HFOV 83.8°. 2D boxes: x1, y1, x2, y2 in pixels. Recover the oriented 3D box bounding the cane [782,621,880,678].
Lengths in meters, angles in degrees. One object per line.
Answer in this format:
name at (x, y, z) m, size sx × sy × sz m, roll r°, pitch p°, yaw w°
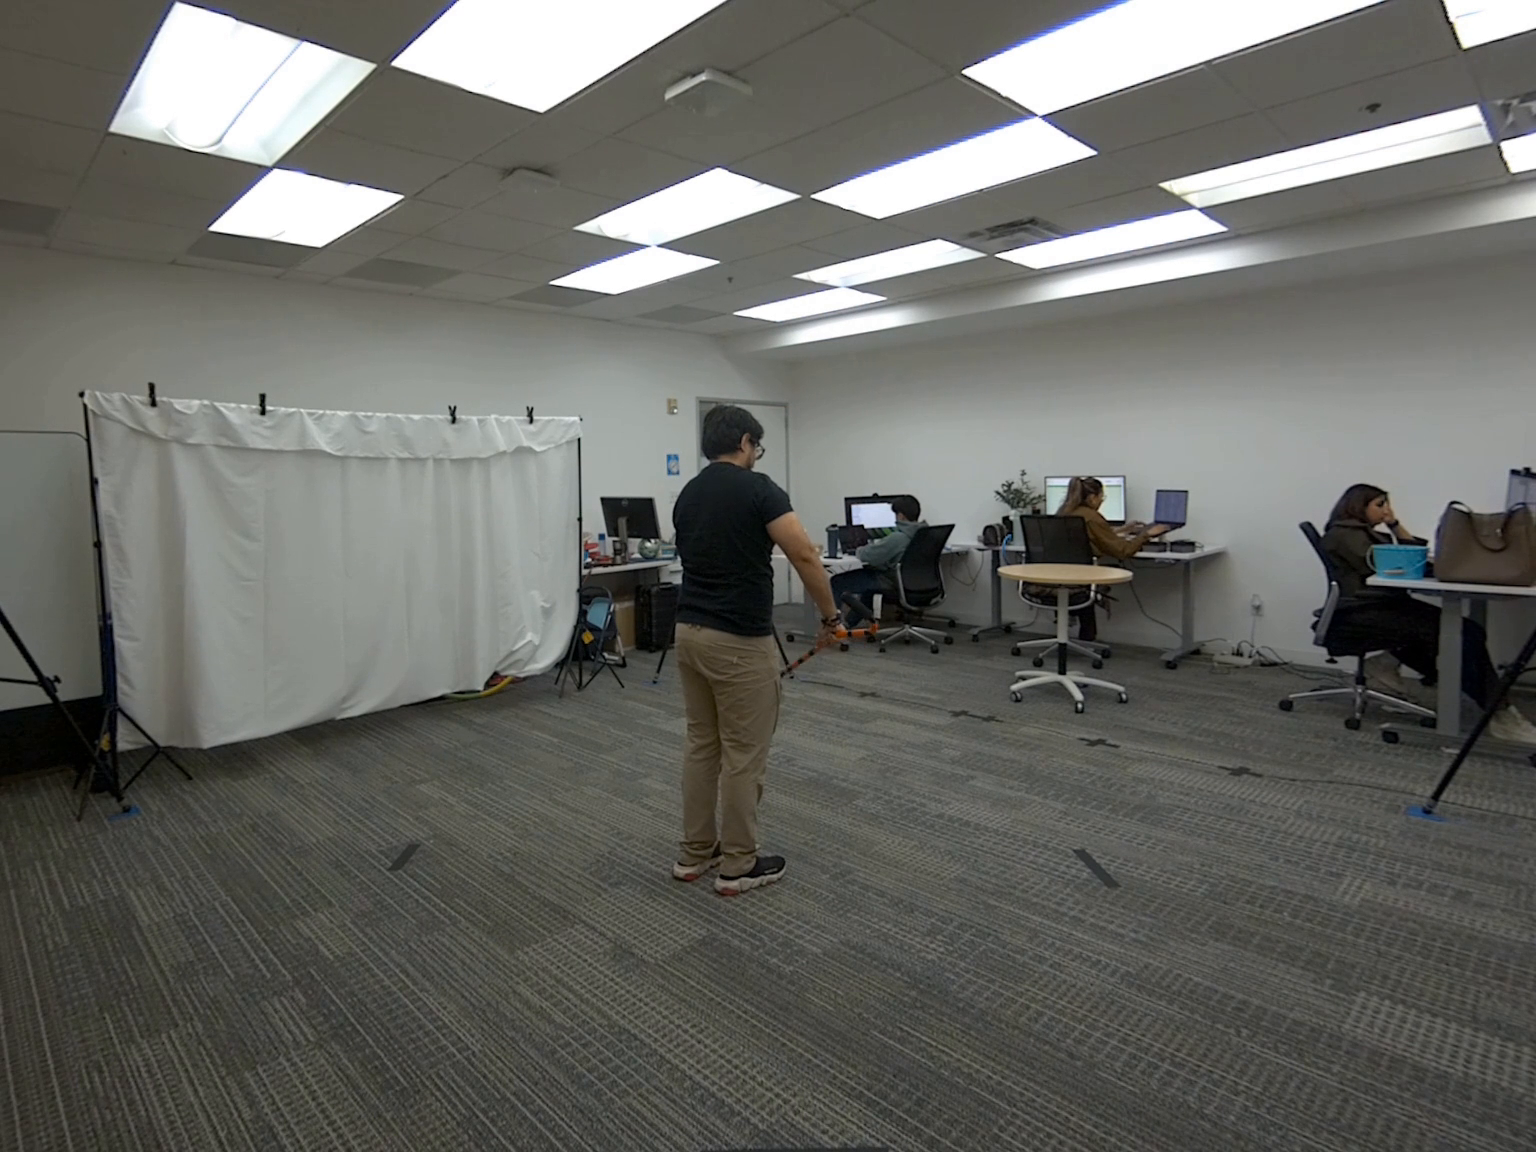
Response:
cane at (0.129, 0.317, 3.055) m, size 0.151 × 0.207 × 0.907 m, roll -47°, pitch 1°, yaw -36°
